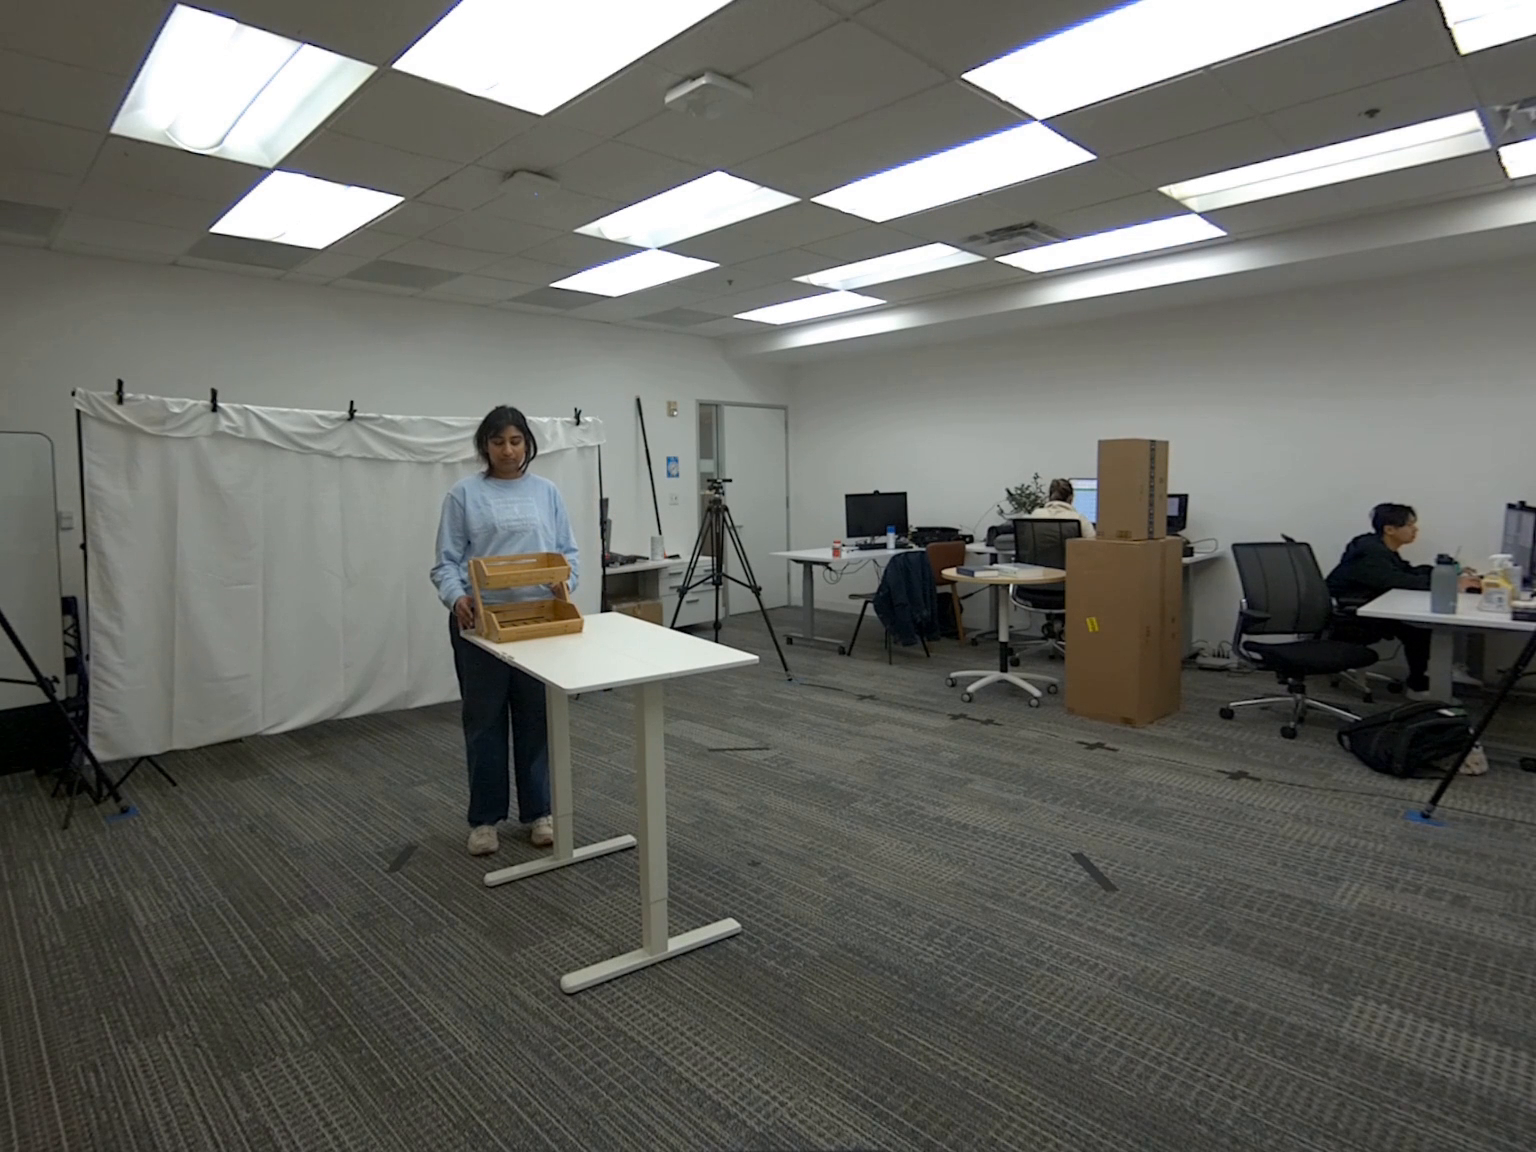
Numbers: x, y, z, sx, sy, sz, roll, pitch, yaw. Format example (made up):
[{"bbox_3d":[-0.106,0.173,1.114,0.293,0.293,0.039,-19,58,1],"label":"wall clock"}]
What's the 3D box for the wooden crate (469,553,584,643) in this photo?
[{"bbox_3d":[-0.841,0.064,2.948,0.317,0.272,0.311,-6,7,-34],"label":"wooden crate"}]
